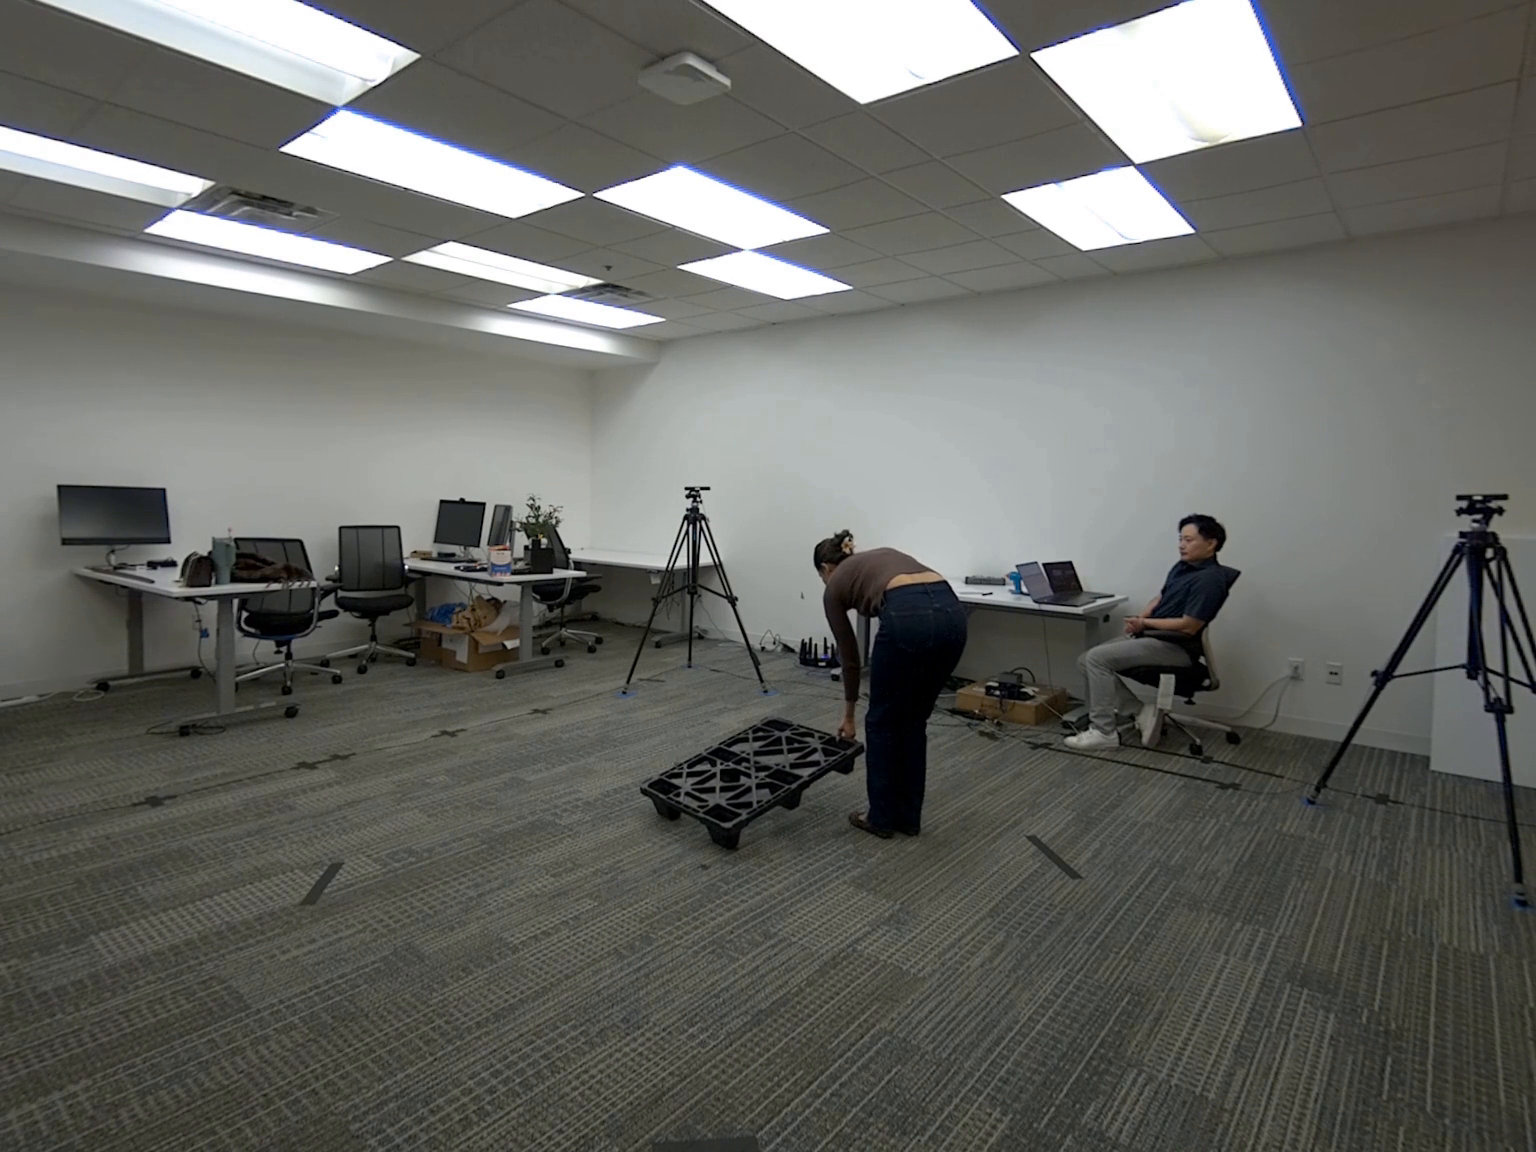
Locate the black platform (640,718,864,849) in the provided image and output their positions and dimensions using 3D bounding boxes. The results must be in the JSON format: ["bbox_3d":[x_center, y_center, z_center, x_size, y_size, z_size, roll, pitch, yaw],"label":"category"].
[{"bbox_3d":[-0.062,0.866,3.658,0.790,0.141,0.626,-22,19,-38],"label":"black platform"}]
